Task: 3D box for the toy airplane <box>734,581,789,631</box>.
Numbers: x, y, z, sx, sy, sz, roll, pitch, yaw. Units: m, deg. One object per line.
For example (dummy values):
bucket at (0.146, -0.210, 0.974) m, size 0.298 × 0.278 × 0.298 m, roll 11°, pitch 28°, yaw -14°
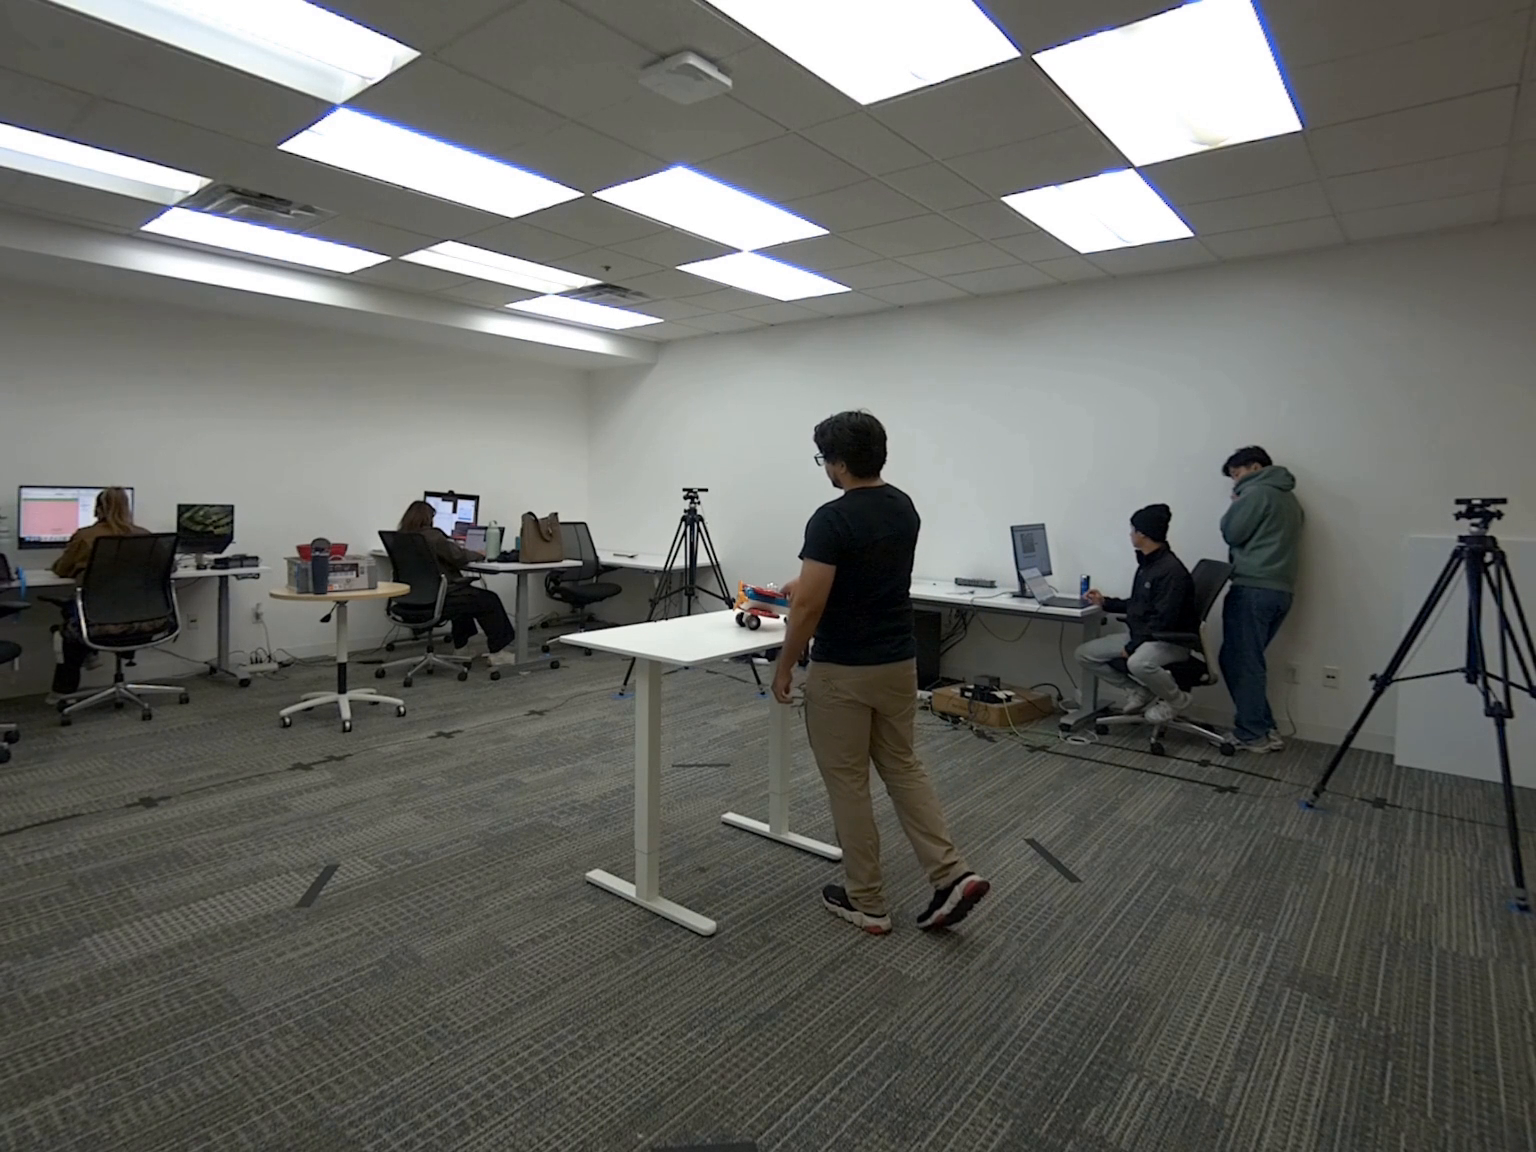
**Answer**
toy airplane at (-0.023, 0.102, 3.162) m, size 0.259 × 0.155 × 0.252 m, roll 3°, pitch 8°, yaw 35°
